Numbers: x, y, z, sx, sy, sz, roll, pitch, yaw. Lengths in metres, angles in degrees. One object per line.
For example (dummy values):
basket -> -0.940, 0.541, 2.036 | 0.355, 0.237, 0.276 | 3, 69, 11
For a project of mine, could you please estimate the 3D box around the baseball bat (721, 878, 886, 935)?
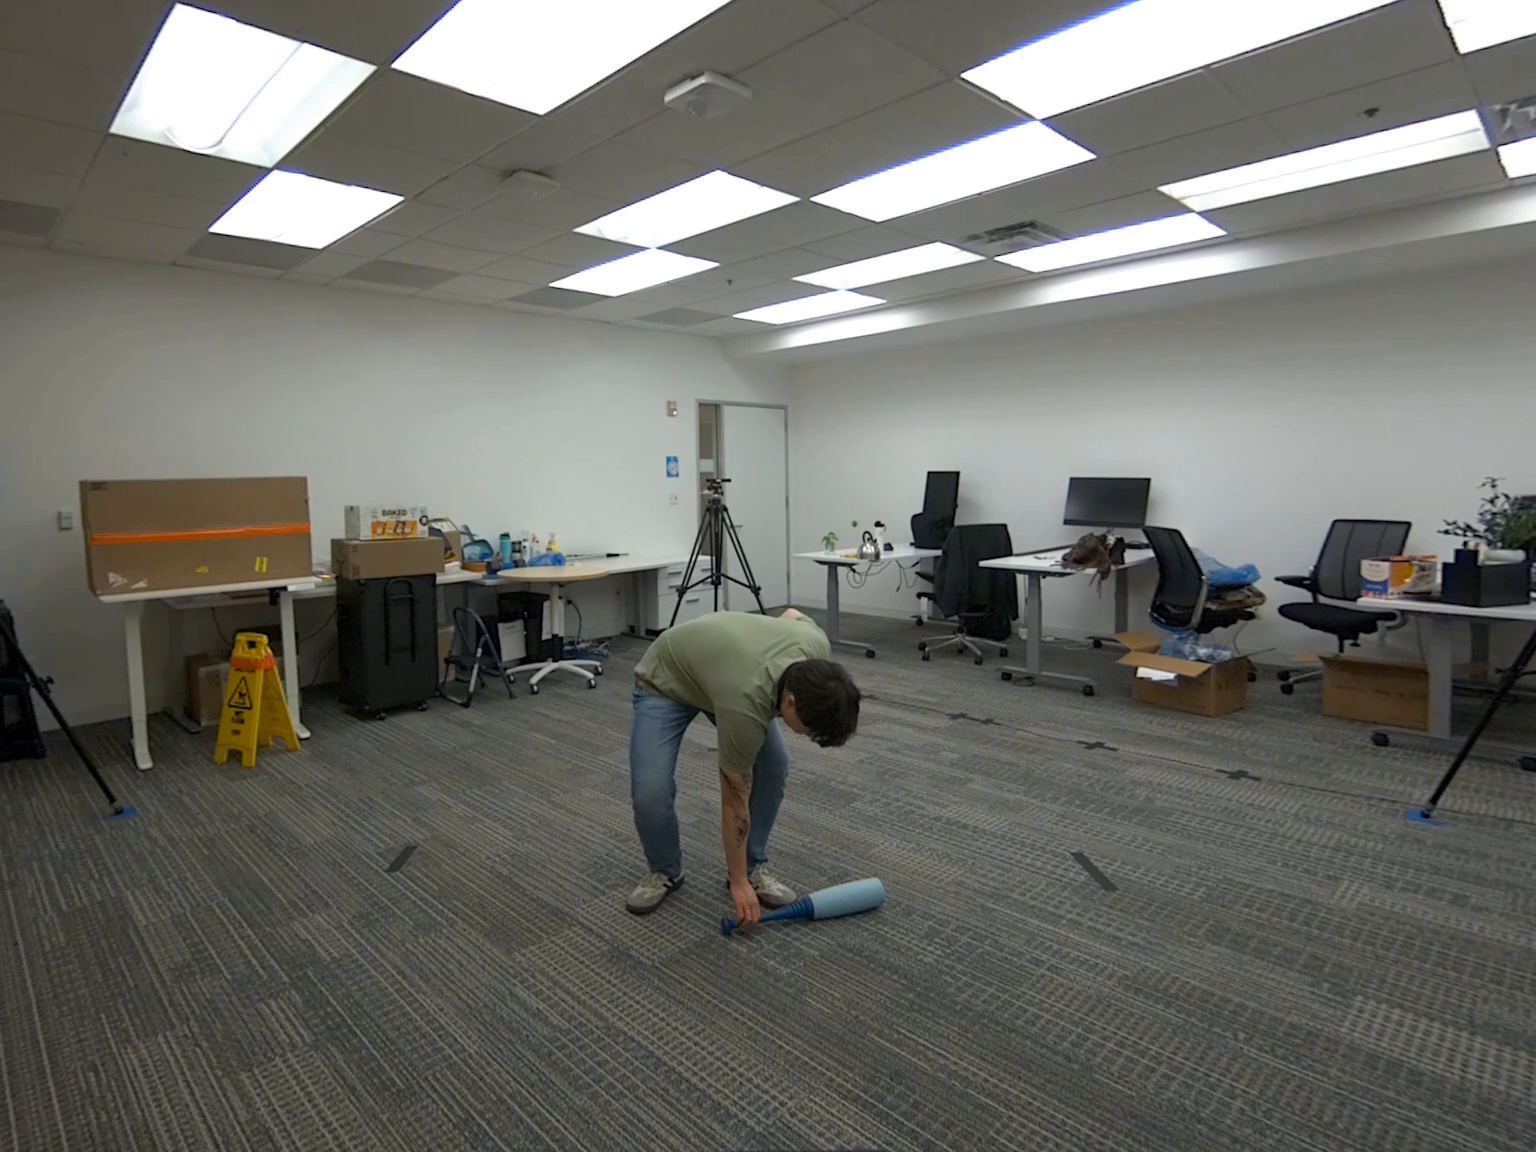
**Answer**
baseball bat -> 0.116, 1.047, 2.701 | 0.536, 0.088, 0.090 | -5, 6, -15
